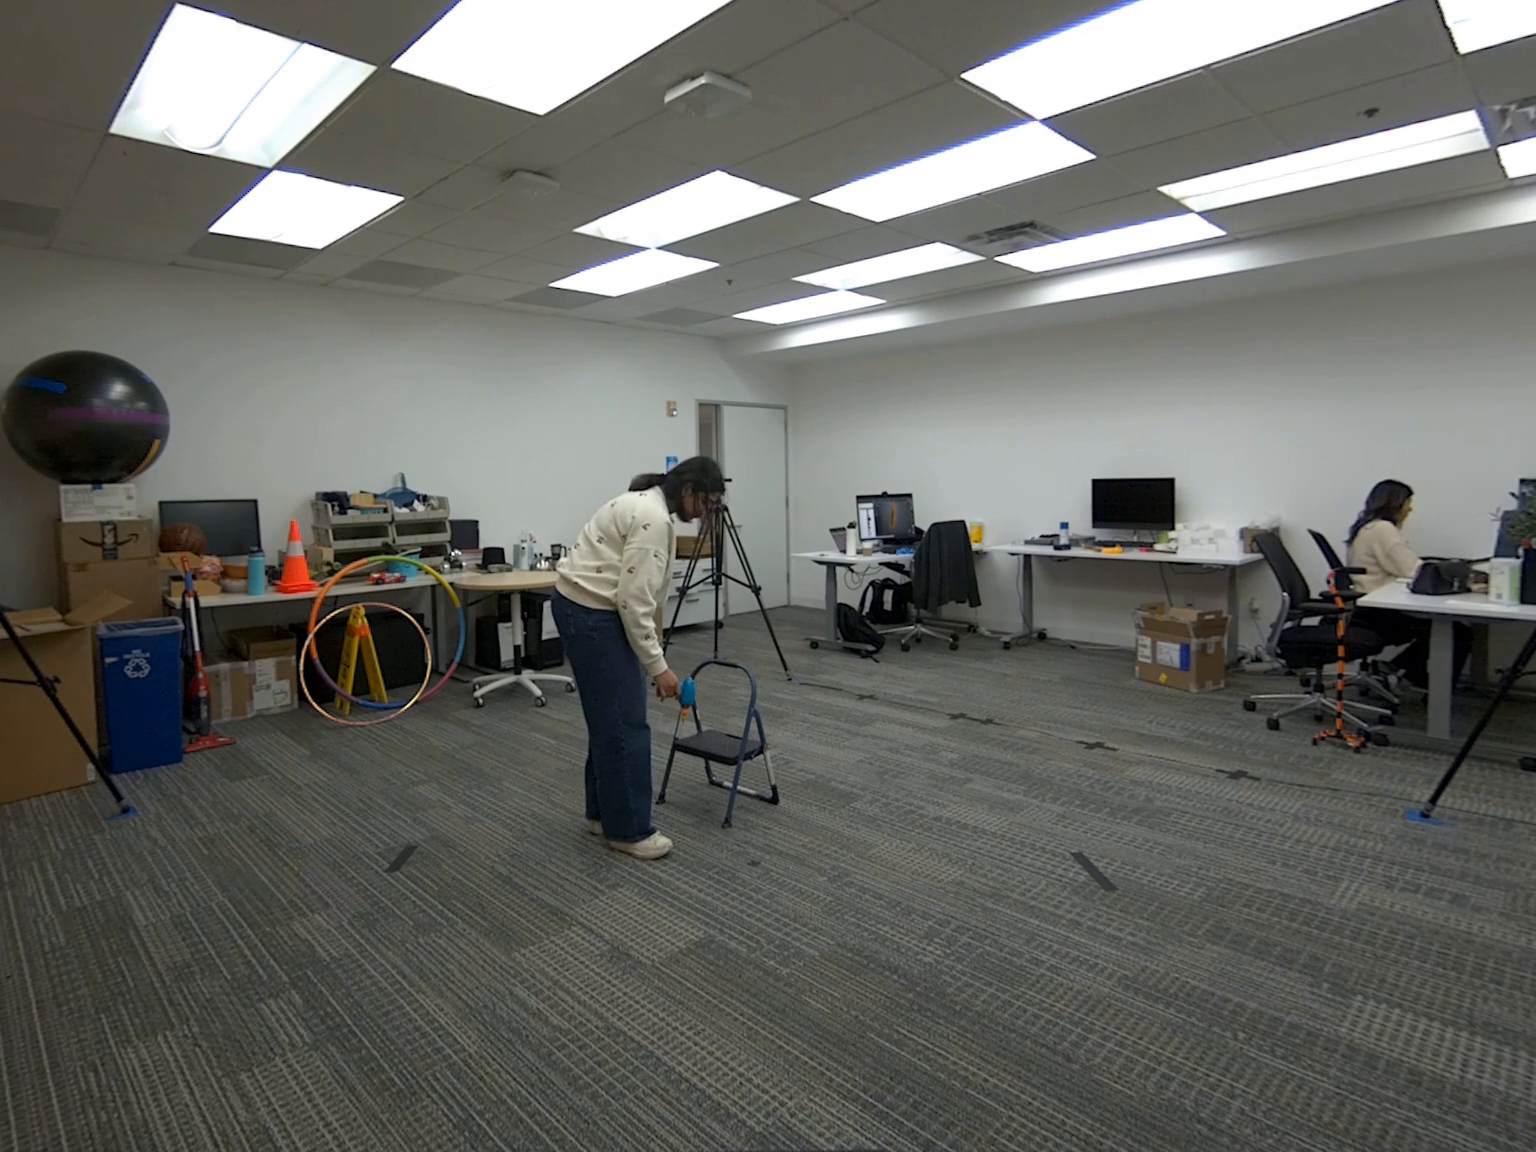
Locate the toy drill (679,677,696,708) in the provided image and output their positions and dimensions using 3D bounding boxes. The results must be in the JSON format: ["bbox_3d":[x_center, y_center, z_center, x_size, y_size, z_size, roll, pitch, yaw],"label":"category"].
[{"bbox_3d":[-0.339,0.462,3.179,0.144,0.169,0.062,5,3,-16],"label":"toy drill"}]
